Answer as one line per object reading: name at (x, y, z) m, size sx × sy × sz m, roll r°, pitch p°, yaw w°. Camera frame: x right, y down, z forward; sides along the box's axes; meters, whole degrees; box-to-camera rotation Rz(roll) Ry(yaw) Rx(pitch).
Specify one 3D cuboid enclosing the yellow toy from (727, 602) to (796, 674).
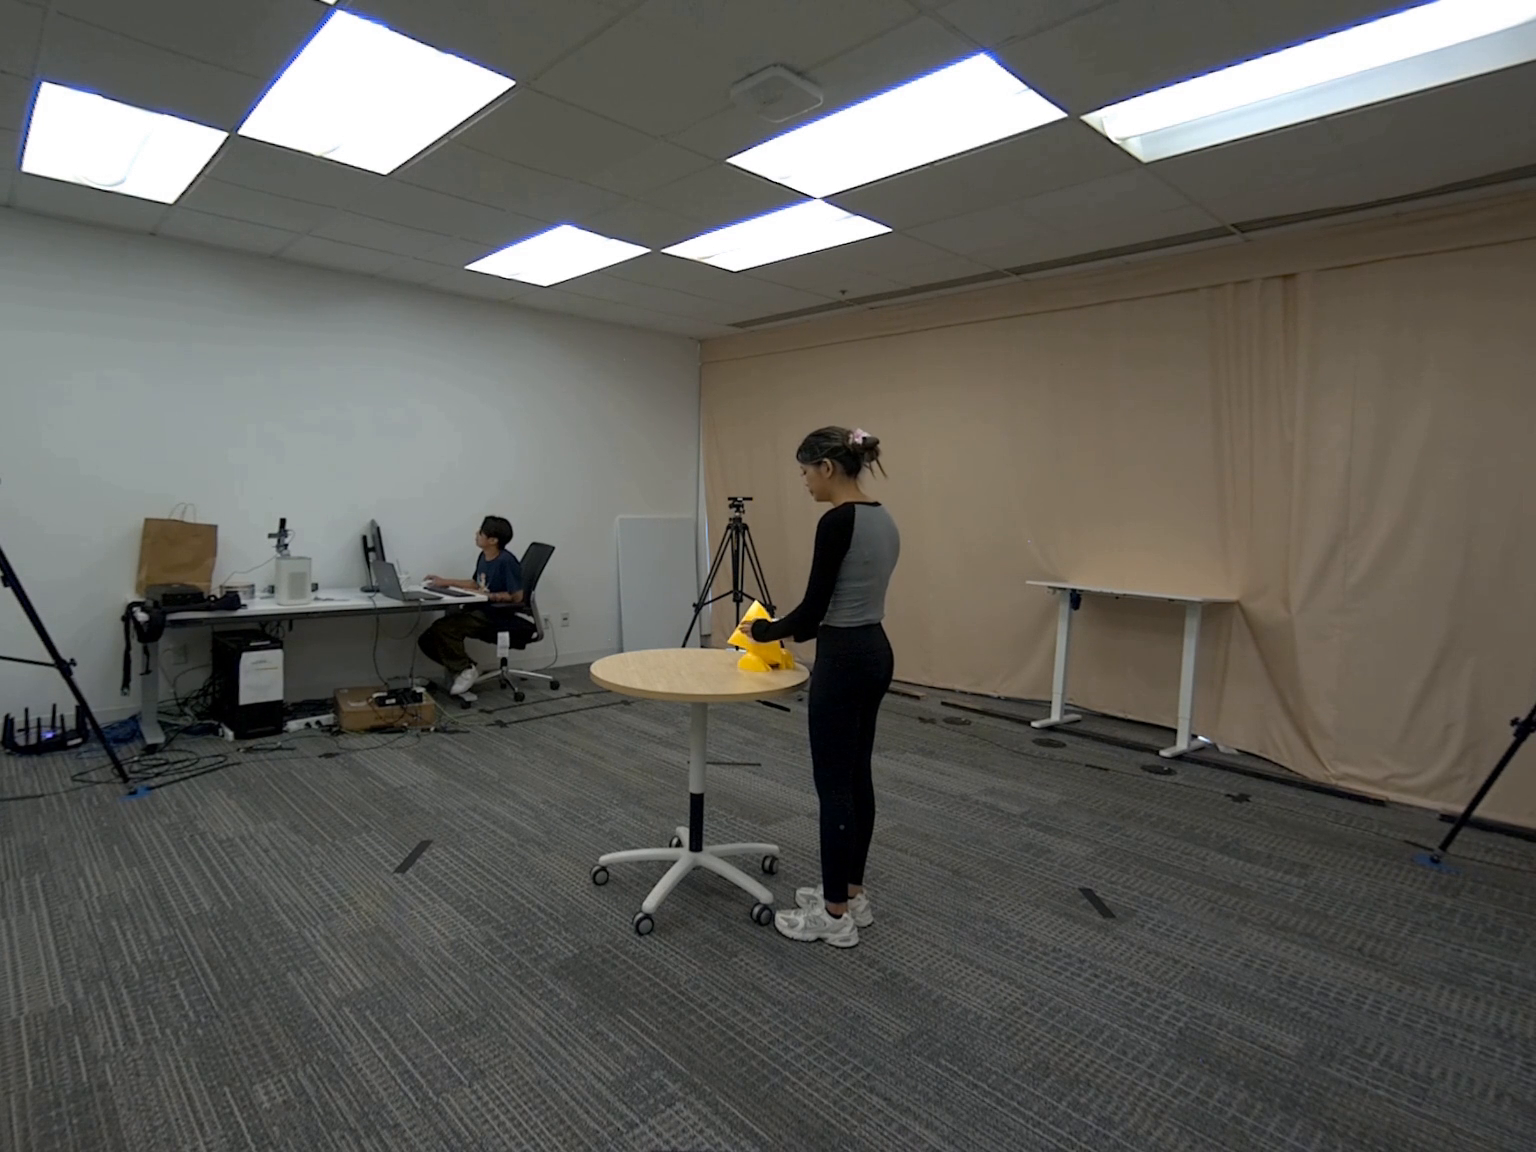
yellow toy at (-0.015, 0.214, 3.026) m, size 0.200 × 0.230 × 0.198 m, roll 0°, pitch 7°, yaw -37°
